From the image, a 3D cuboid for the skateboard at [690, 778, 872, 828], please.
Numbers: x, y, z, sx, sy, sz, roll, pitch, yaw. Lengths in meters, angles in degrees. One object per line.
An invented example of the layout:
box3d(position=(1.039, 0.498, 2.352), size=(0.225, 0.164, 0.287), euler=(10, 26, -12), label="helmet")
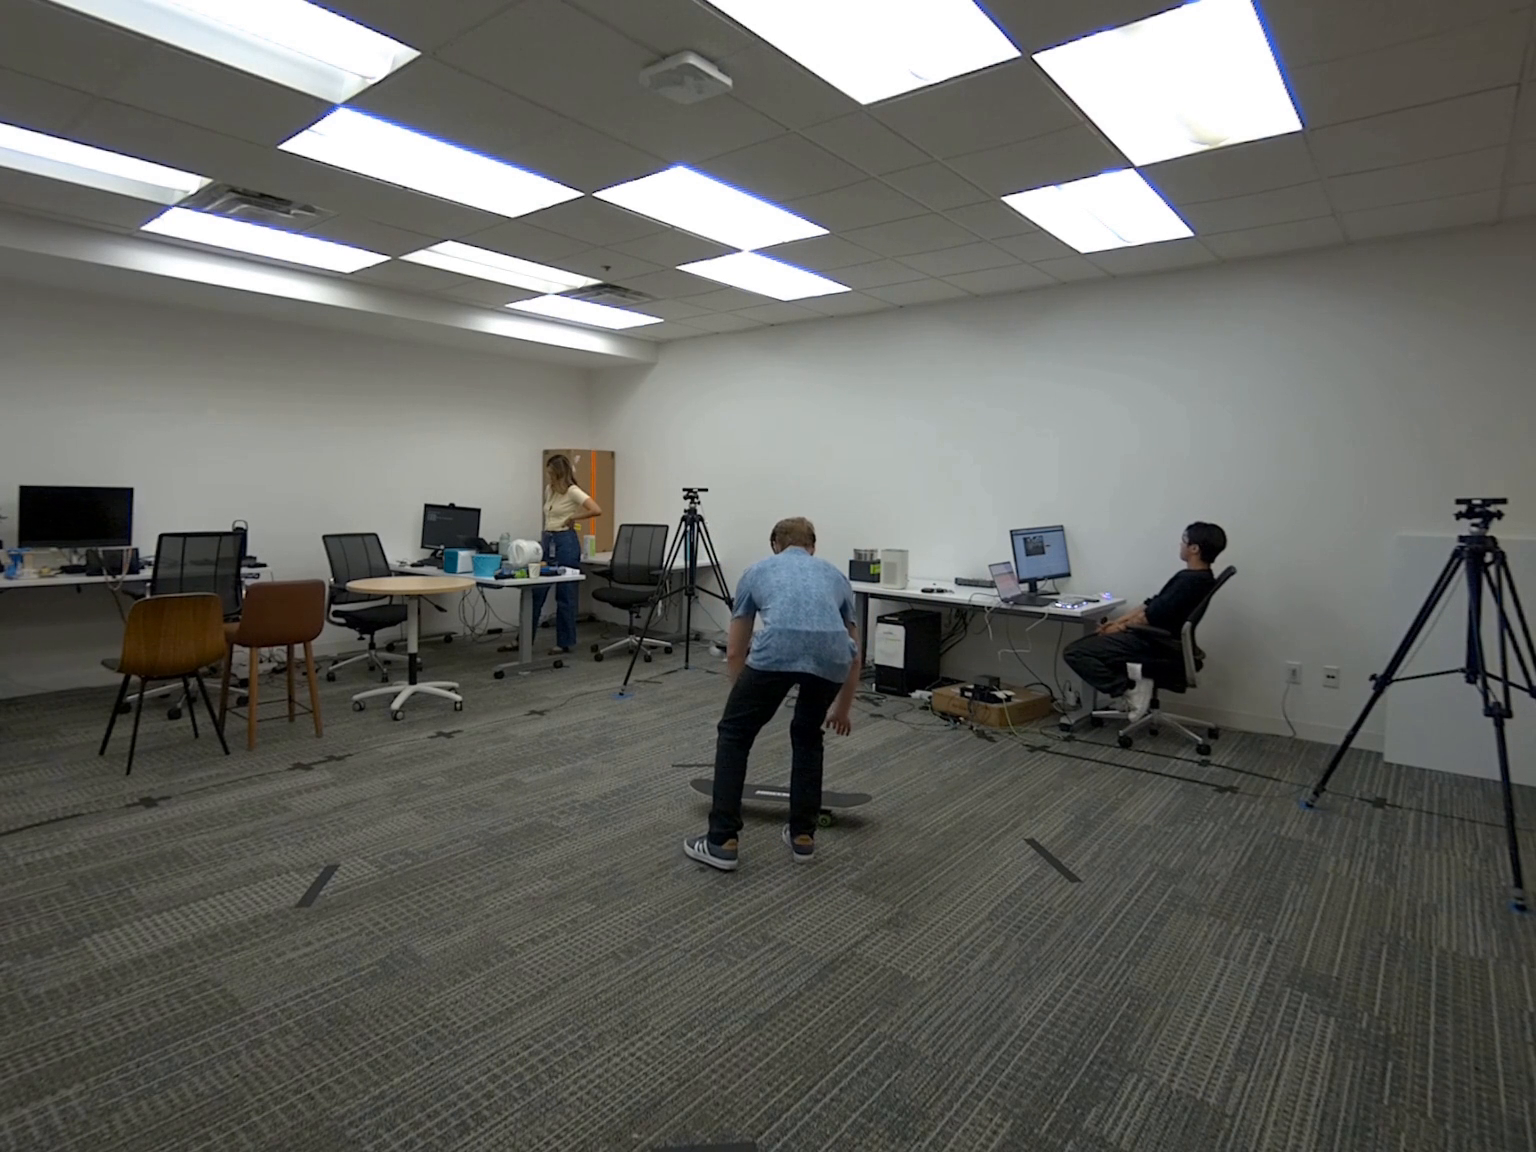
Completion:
box3d(position=(0.035, 0.960, 3.642), size=(0.795, 0.110, 0.192), euler=(3, 5, 11), label="skateboard")
